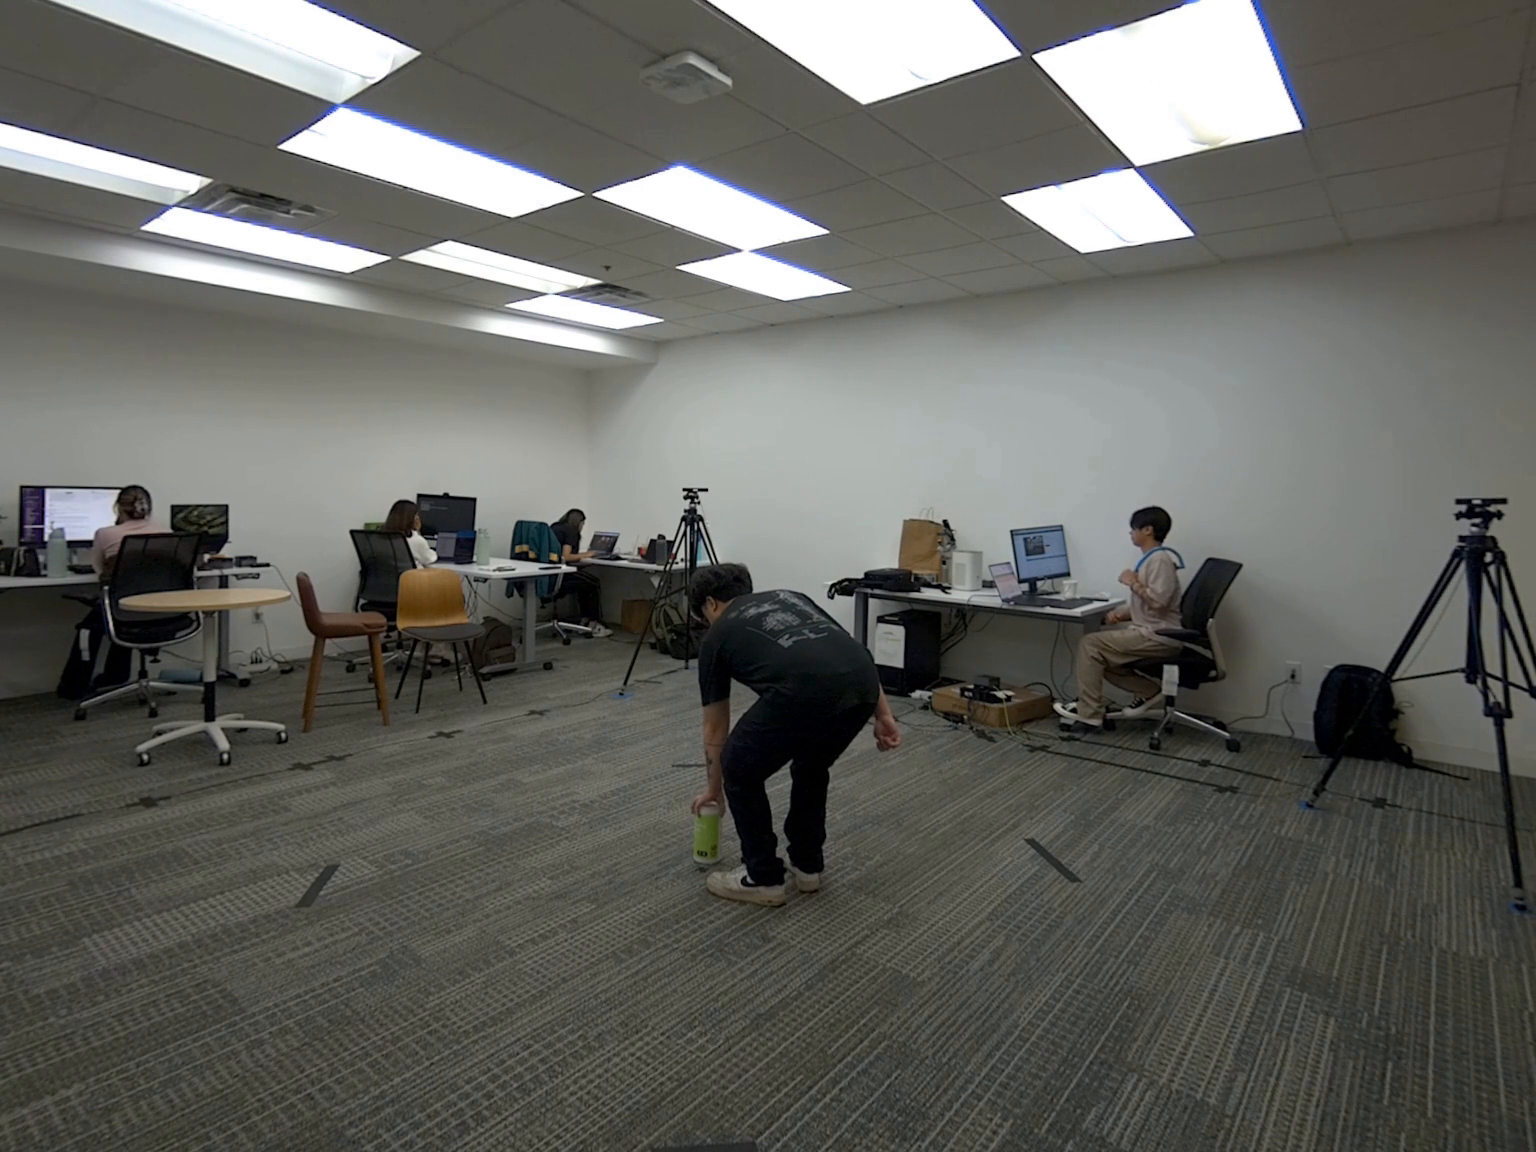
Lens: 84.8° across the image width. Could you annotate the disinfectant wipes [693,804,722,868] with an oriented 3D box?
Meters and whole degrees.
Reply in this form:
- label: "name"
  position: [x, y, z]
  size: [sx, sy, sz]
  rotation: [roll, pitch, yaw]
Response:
- label: "disinfectant wipes"
  position: [-0.236, 0.956, 3.198]
  size: [0.118, 0.217, 0.118]
  rotation: [1, 3, -2]
